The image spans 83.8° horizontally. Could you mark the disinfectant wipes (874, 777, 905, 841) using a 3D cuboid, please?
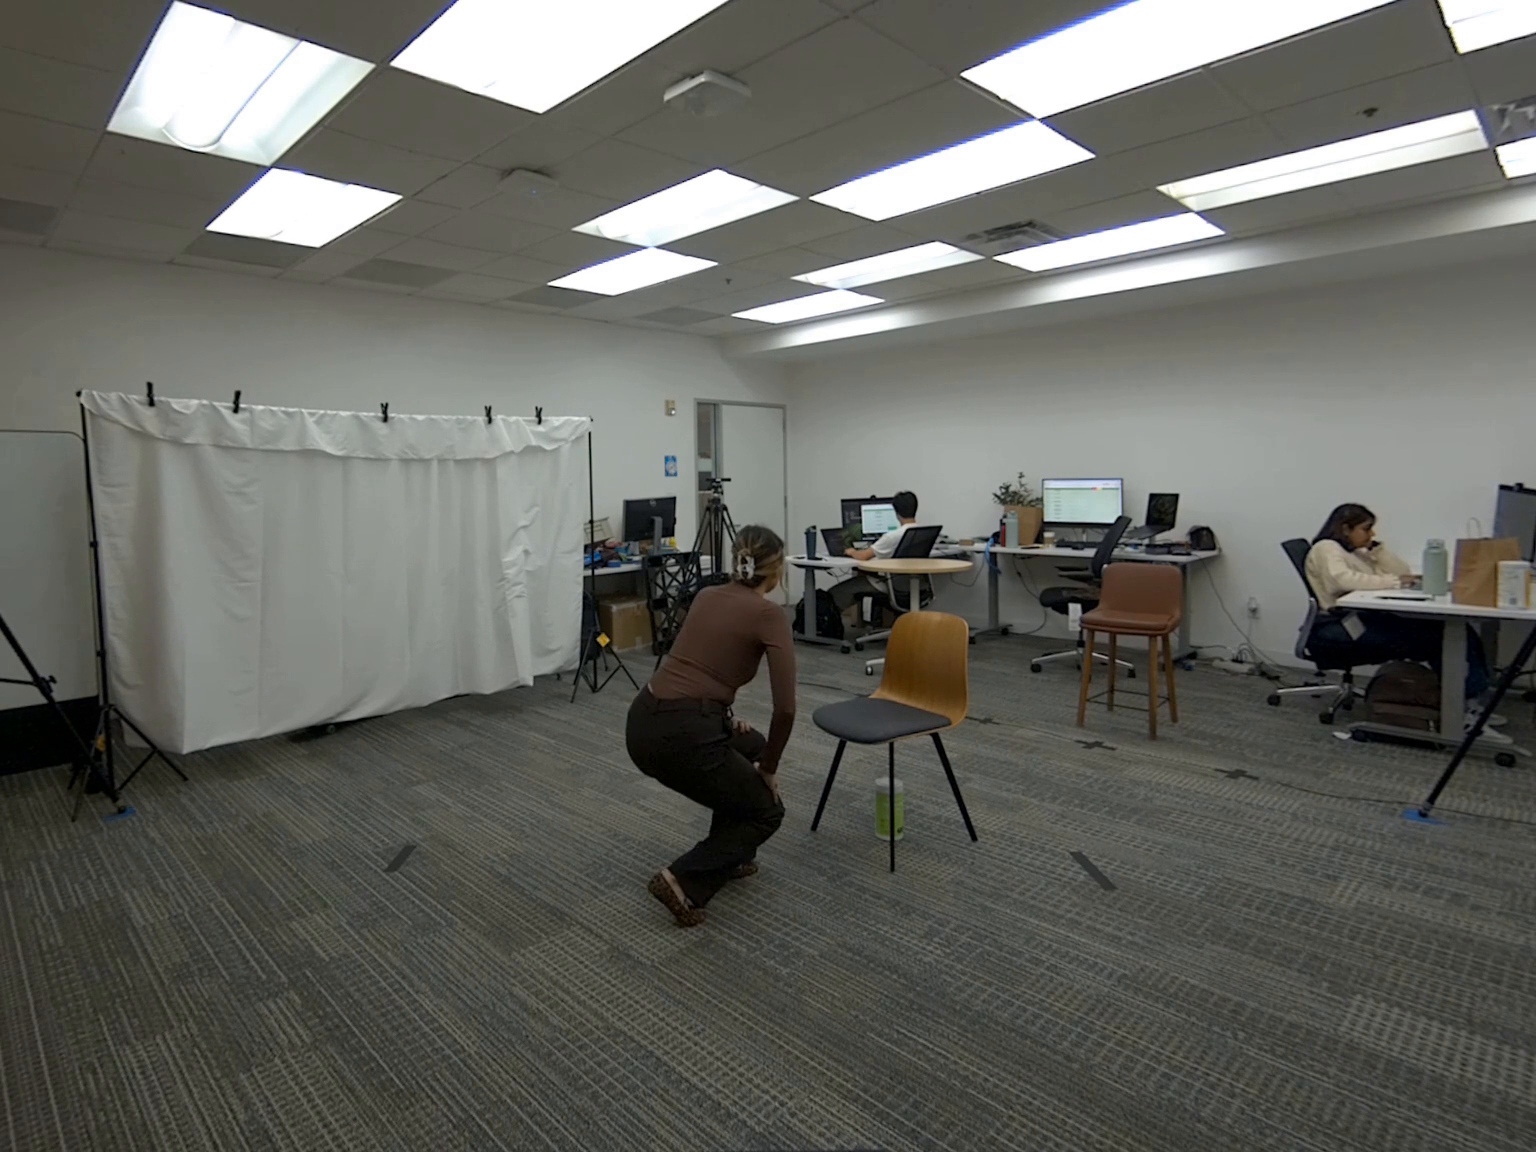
[{"bbox_3d":[0.475,0.911,3.313,0.118,0.216,0.118,-3,4,-1],"label":"disinfectant wipes"}]
